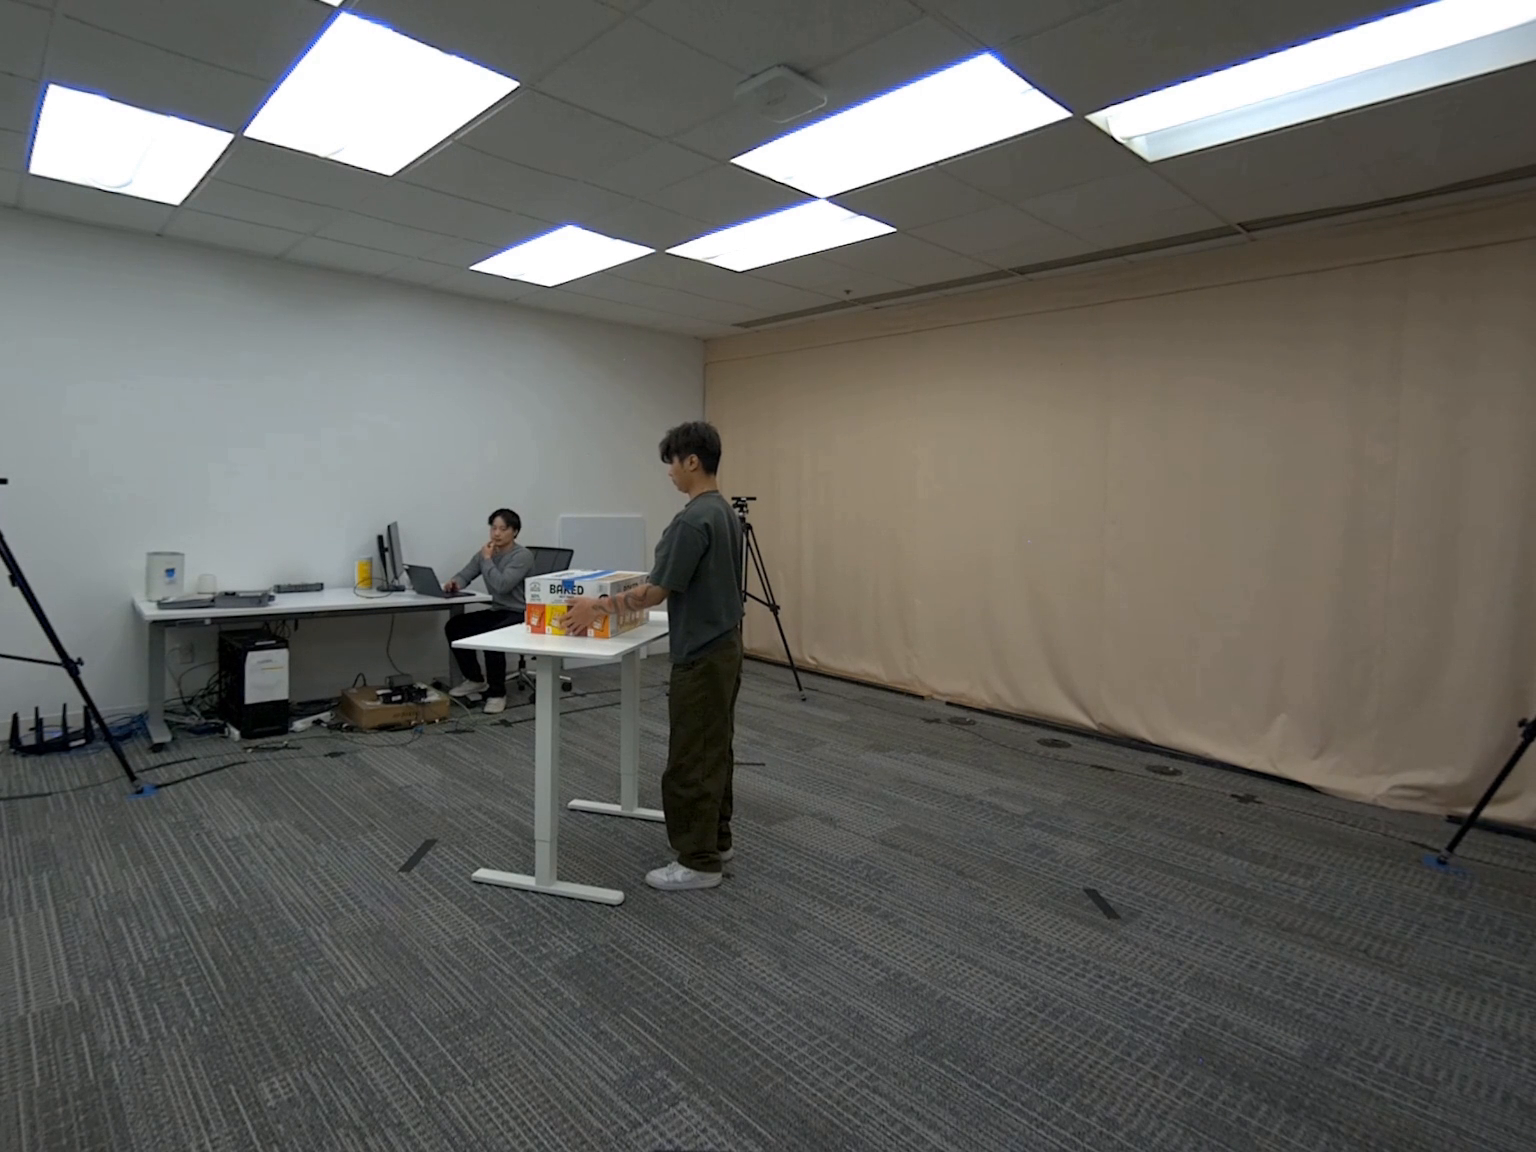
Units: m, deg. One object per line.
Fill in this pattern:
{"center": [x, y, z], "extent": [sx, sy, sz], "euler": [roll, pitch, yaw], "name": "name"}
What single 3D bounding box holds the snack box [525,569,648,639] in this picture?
{"center": [-0.688, 0.098, 3.244], "extent": [0.344, 0.205, 0.401], "euler": [3, 5, 14], "name": "snack box"}
